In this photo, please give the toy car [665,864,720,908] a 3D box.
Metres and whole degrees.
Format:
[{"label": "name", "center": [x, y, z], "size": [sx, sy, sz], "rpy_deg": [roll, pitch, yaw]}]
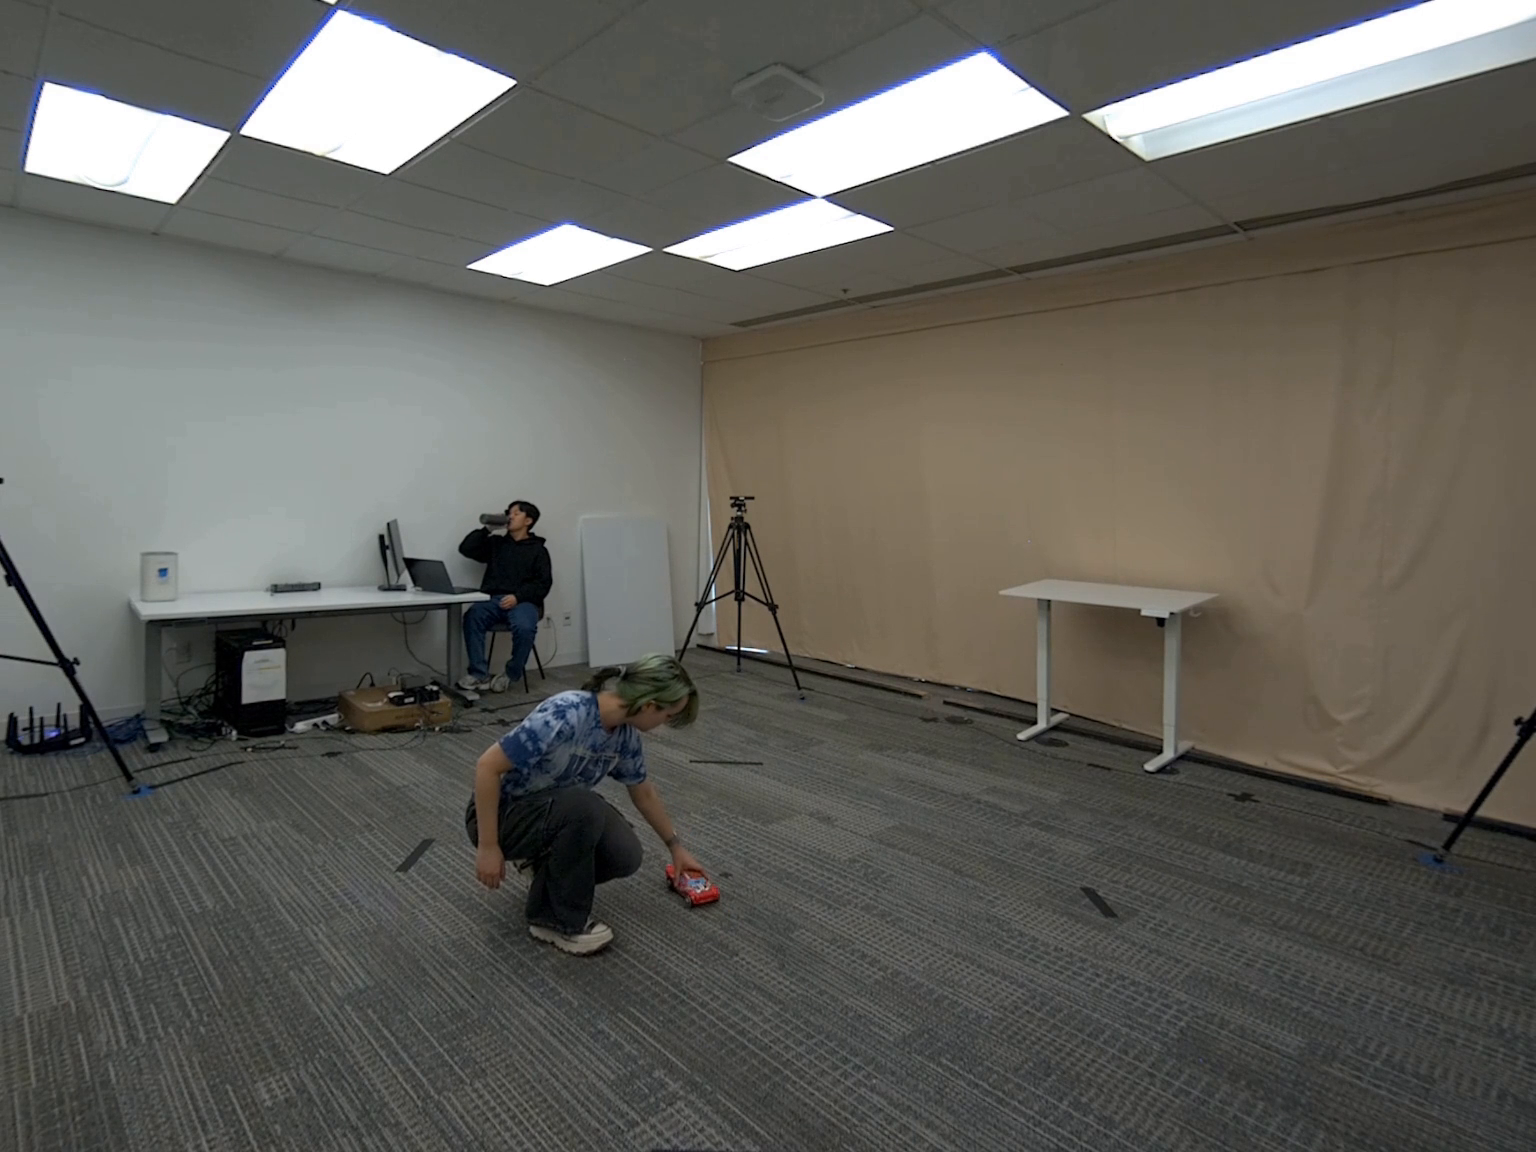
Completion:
[{"label": "toy car", "center": [-0.283, 1.085, 2.956], "size": [0.128, 0.082, 0.262], "rpy_deg": [-2, 16, -30]}]
